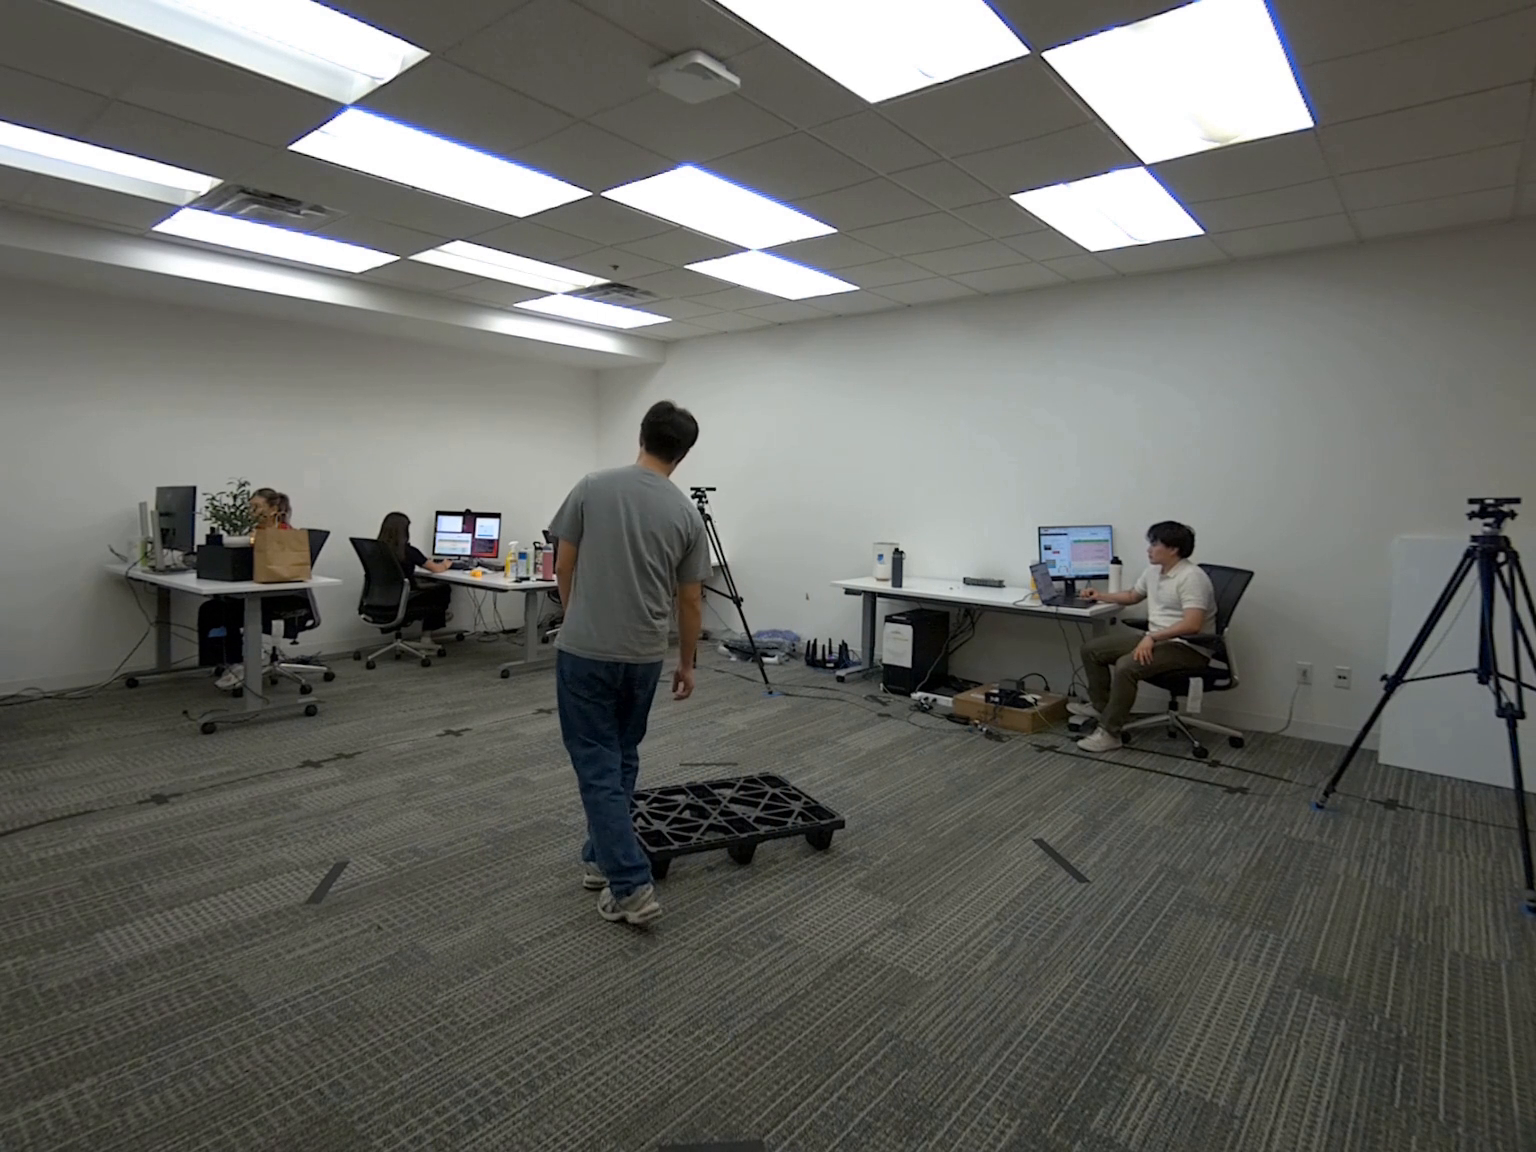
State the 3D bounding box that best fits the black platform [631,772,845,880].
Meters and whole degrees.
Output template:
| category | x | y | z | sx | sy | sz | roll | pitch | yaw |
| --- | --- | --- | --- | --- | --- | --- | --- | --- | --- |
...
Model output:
| category | x | y | z | sx | sy | sz | roll | pitch | yaw |
| --- | --- | --- | --- | --- | --- | --- | --- | --- | --- |
| black platform | -0.192 | 0.974 | 3.361 | 0.787 | 0.143 | 0.622 | -2 | 6 | -25 |
